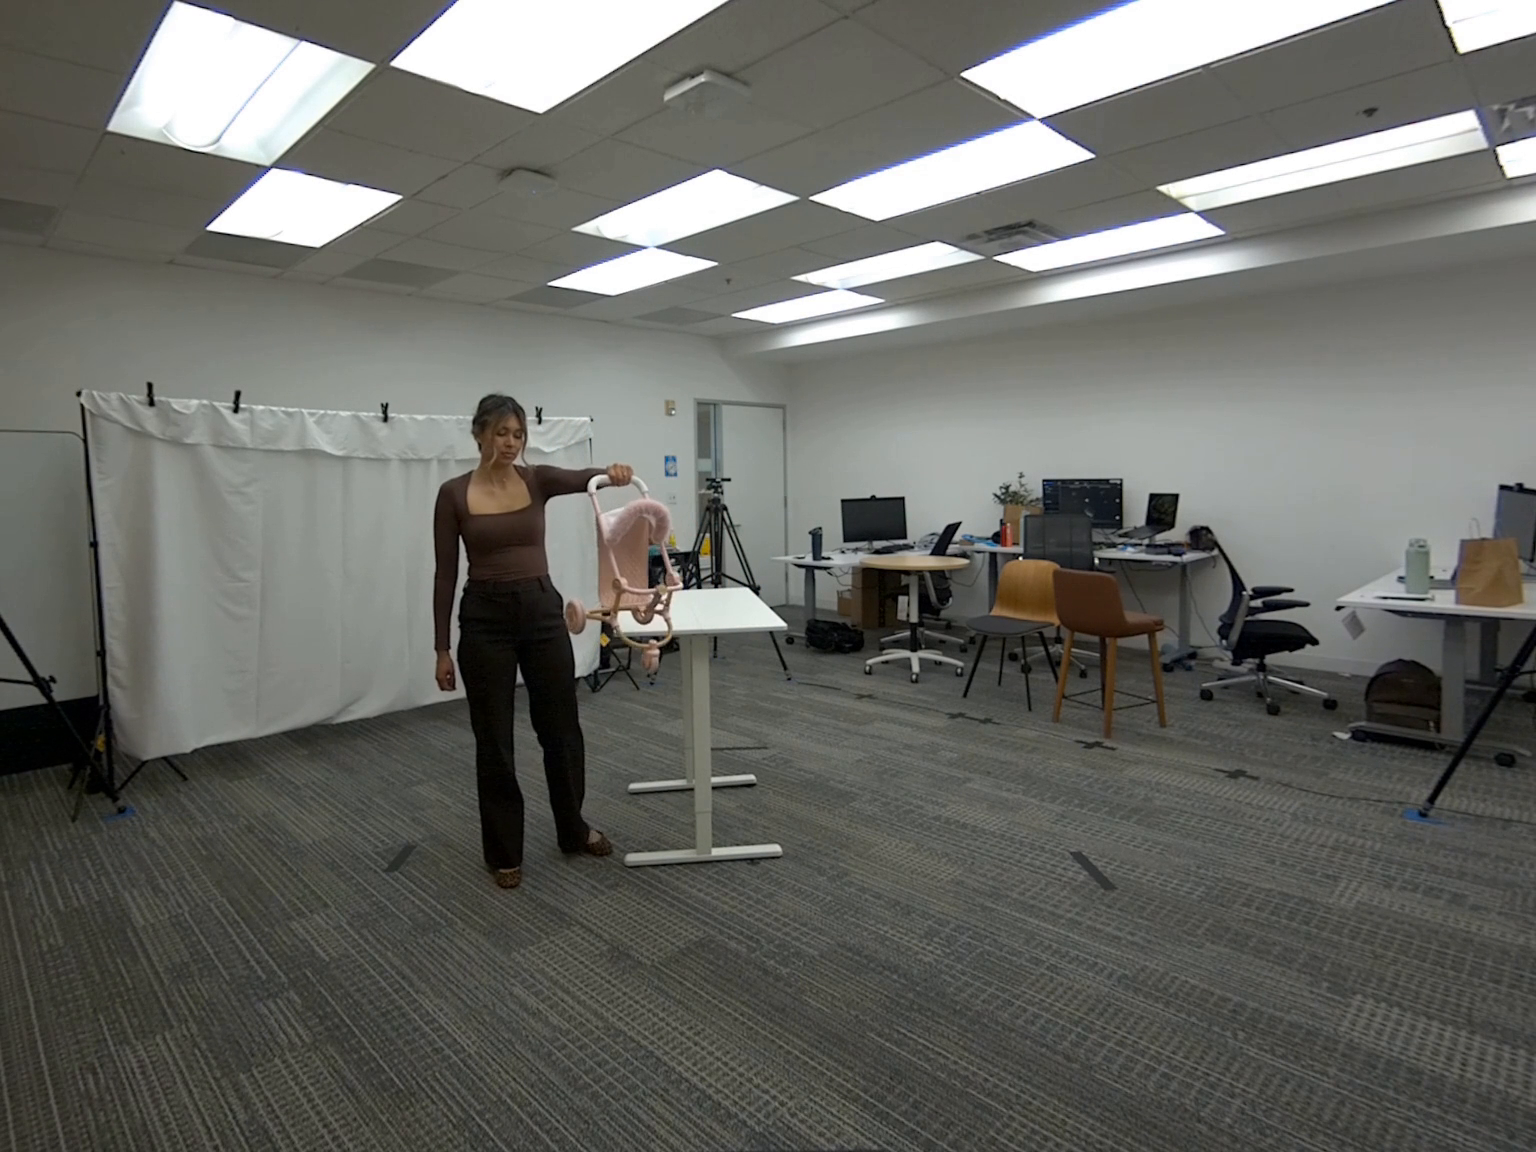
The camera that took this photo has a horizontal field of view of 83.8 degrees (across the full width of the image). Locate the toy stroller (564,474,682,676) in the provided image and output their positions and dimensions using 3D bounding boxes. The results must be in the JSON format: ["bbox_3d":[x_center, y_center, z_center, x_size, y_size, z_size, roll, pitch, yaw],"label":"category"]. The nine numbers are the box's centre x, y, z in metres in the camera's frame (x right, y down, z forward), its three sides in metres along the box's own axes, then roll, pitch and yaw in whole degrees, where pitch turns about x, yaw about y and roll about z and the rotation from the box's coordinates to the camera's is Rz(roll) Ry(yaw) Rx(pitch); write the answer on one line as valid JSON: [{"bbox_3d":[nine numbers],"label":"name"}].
[{"bbox_3d":[-0.403,-0.005,2.557,0.274,0.530,0.354,-1,15,-37],"label":"toy stroller"}]
